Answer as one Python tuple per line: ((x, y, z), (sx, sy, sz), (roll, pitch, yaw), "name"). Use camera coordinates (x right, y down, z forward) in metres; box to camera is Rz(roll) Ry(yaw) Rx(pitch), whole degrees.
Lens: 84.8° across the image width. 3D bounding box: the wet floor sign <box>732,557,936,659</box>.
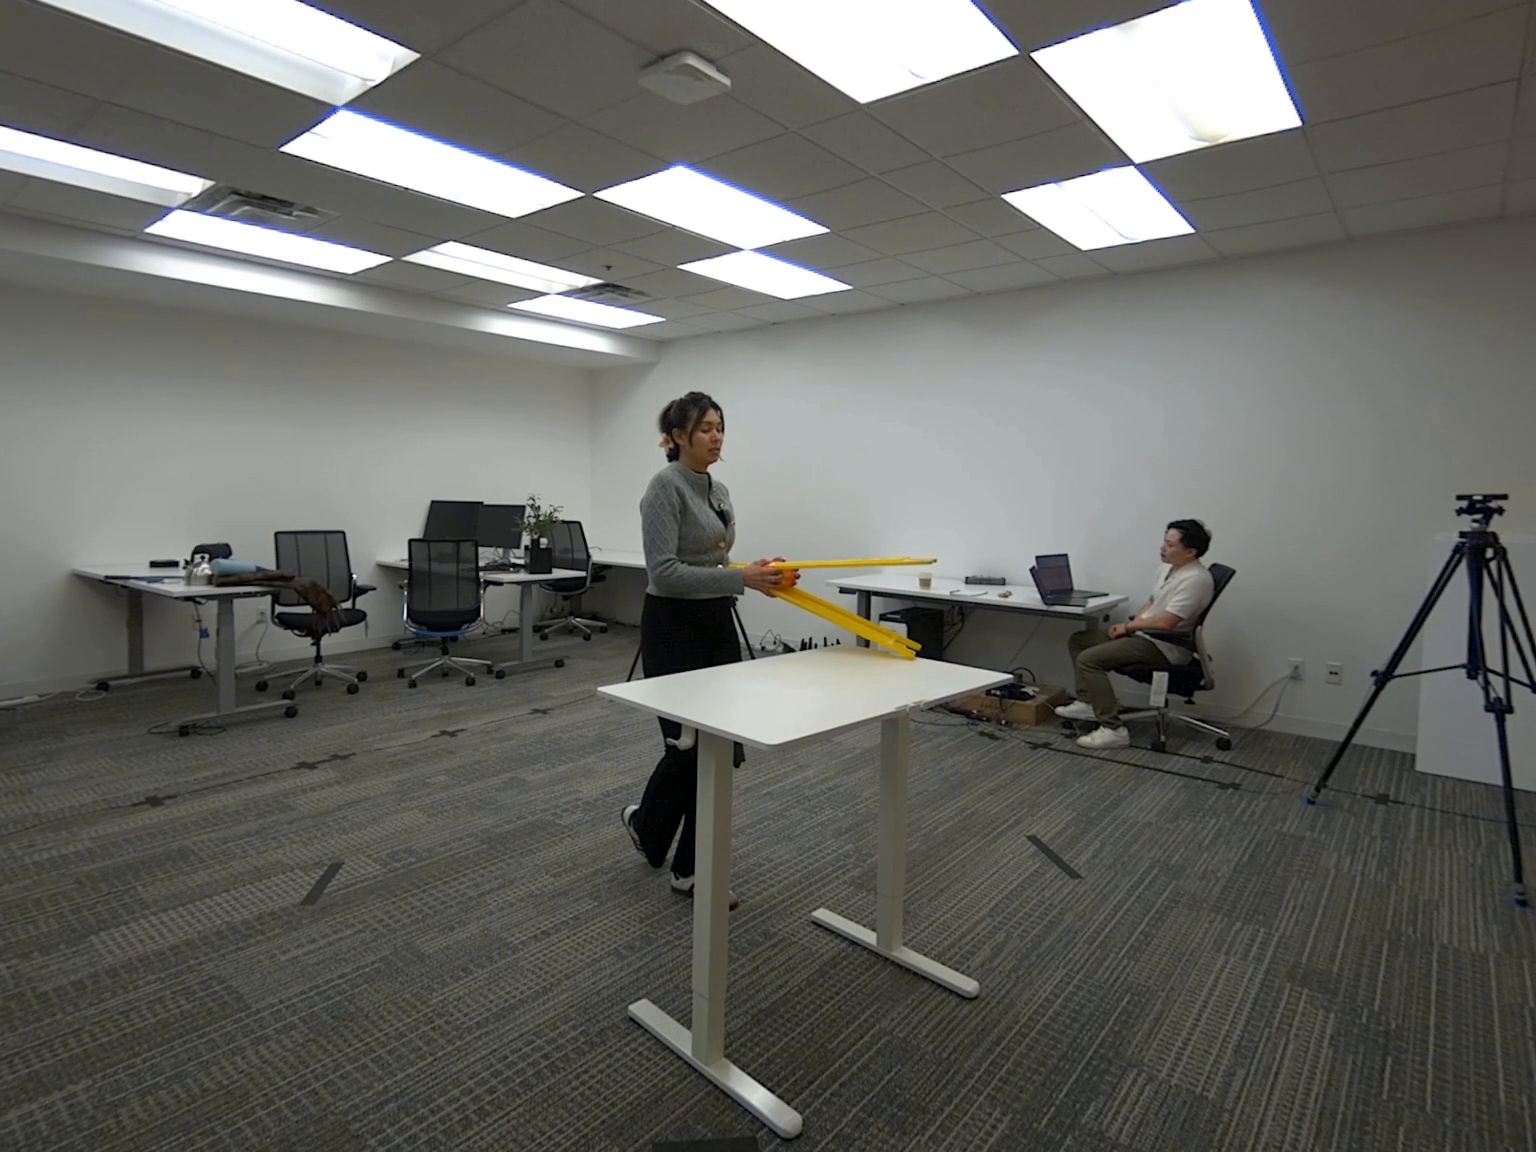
((0.187, 0.031, 2.785), (0.660, 0.289, 0.277), (12, 4, 18), "wet floor sign")
